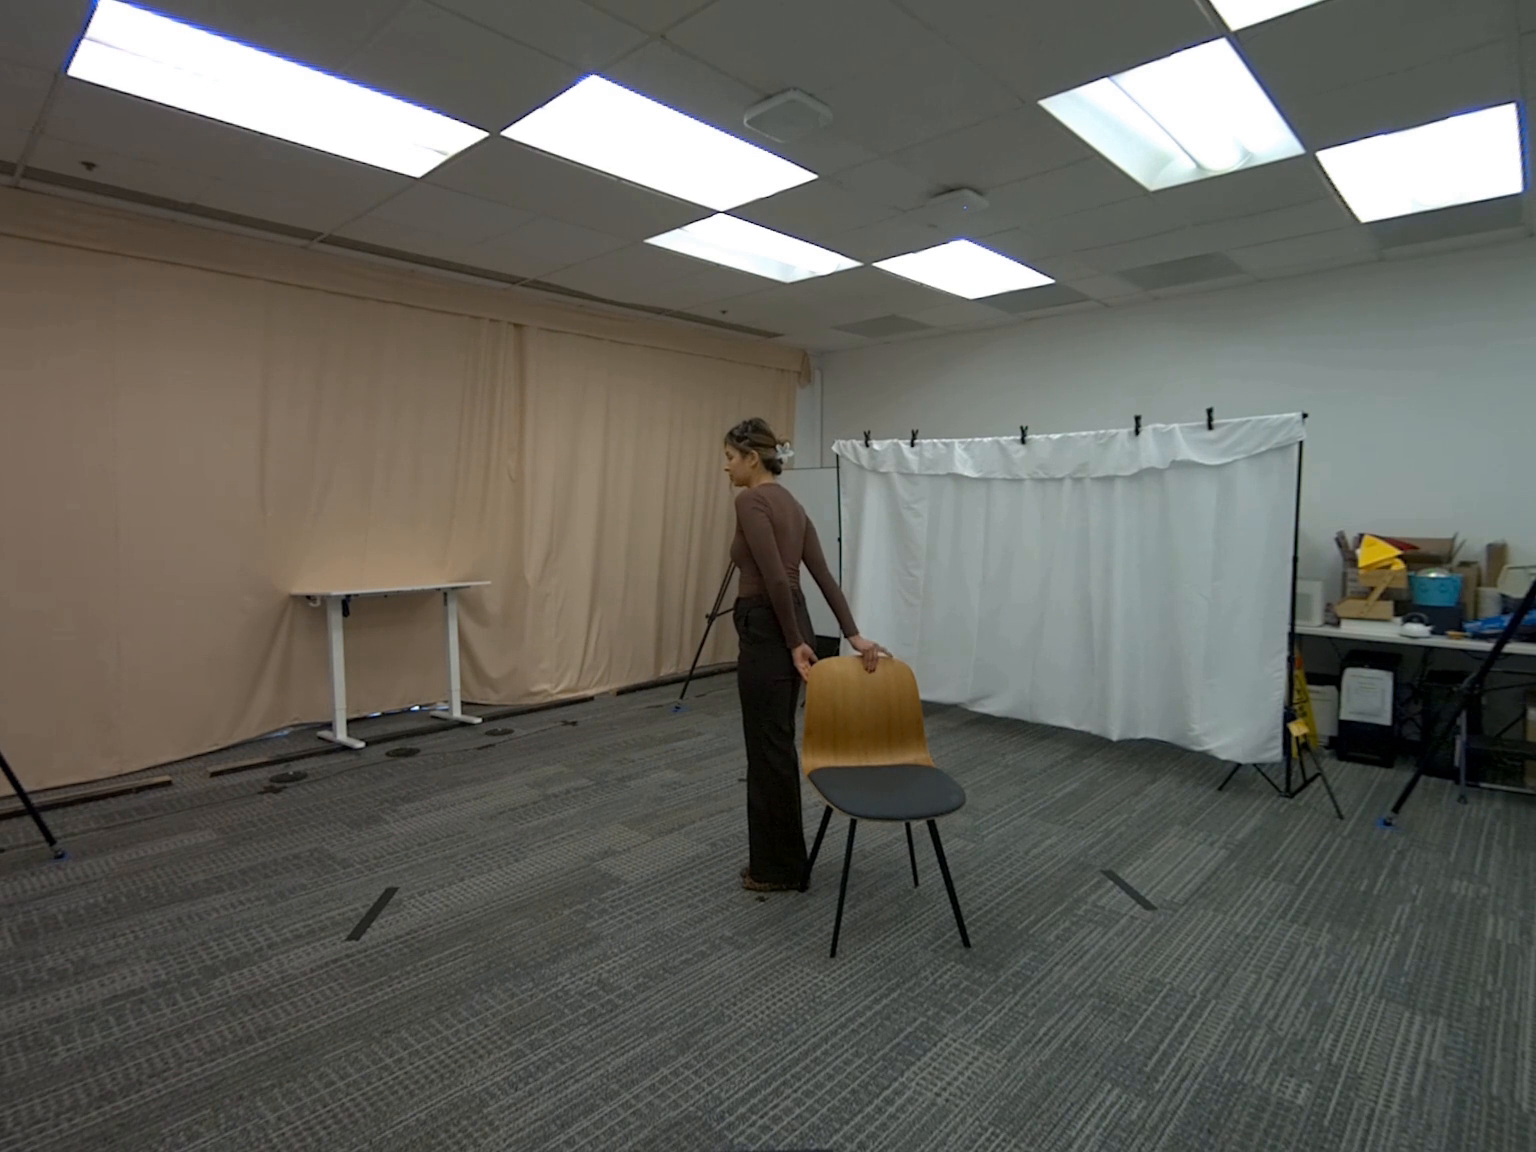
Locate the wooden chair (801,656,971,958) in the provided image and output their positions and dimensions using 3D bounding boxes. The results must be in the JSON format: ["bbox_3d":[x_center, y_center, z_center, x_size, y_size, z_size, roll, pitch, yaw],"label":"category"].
[{"bbox_3d":[0.381,0.727,2.802,0.474,0.878,0.527,0,-1,-8],"label":"wooden chair"}]
